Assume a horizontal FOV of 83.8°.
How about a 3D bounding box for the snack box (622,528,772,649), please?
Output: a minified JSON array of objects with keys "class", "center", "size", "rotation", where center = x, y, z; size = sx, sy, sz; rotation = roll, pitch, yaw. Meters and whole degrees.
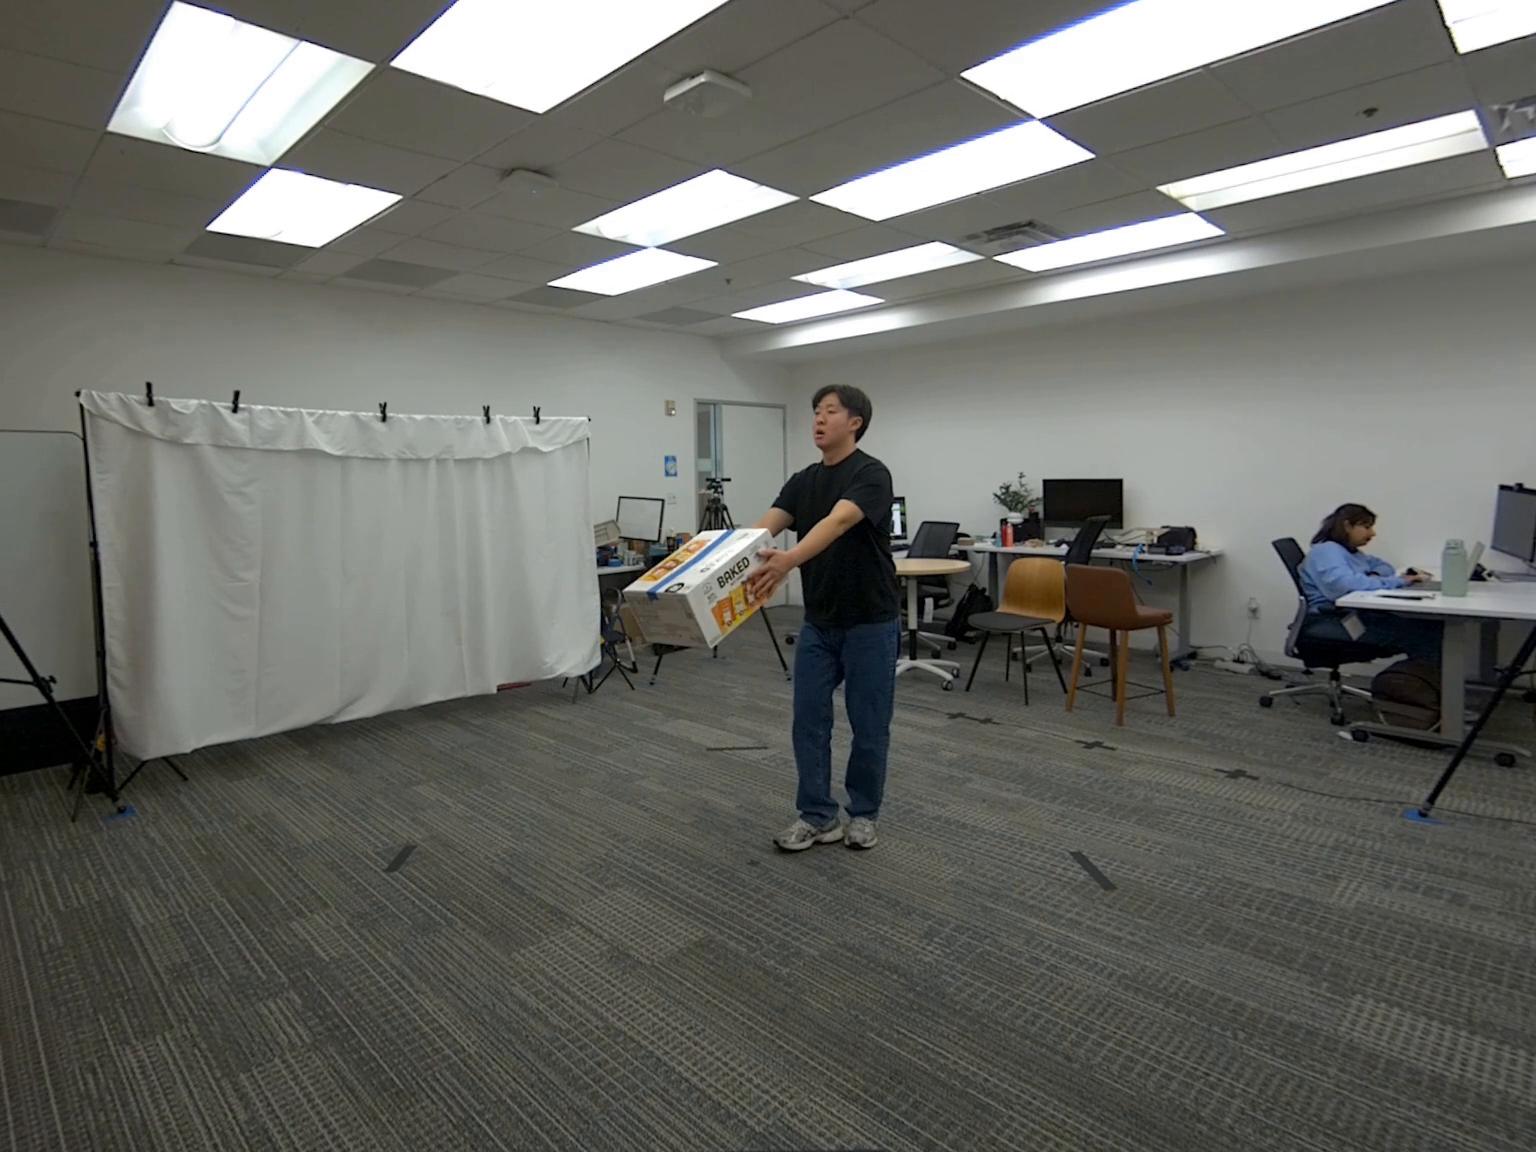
[{"class":"snack box","center":[-0.201,0.032,2.815],"size":[0.350,0.201,0.403],"rotation":[-1,30,47]}]
